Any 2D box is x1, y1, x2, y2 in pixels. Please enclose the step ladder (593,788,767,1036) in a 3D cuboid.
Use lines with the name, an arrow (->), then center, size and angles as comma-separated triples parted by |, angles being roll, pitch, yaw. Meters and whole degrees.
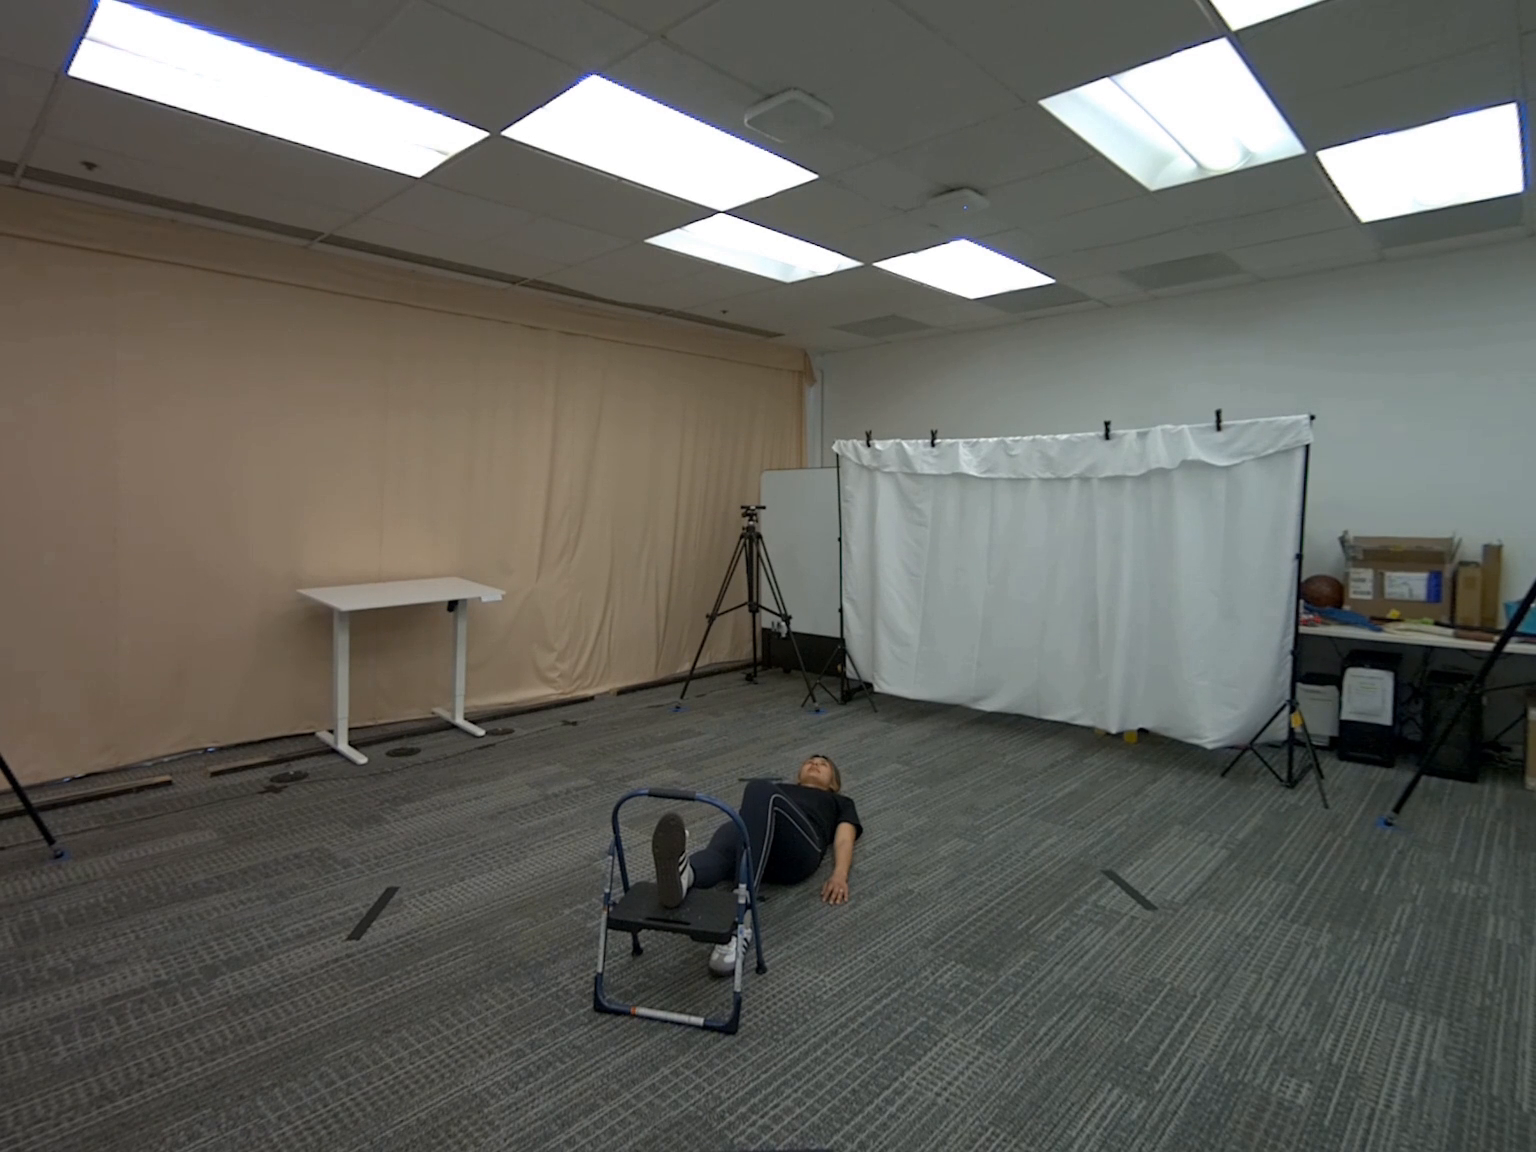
step ladder -> -0.252, 0.892, 2.411 | 0.438, 0.605, 0.344 | 1, 3, 14
